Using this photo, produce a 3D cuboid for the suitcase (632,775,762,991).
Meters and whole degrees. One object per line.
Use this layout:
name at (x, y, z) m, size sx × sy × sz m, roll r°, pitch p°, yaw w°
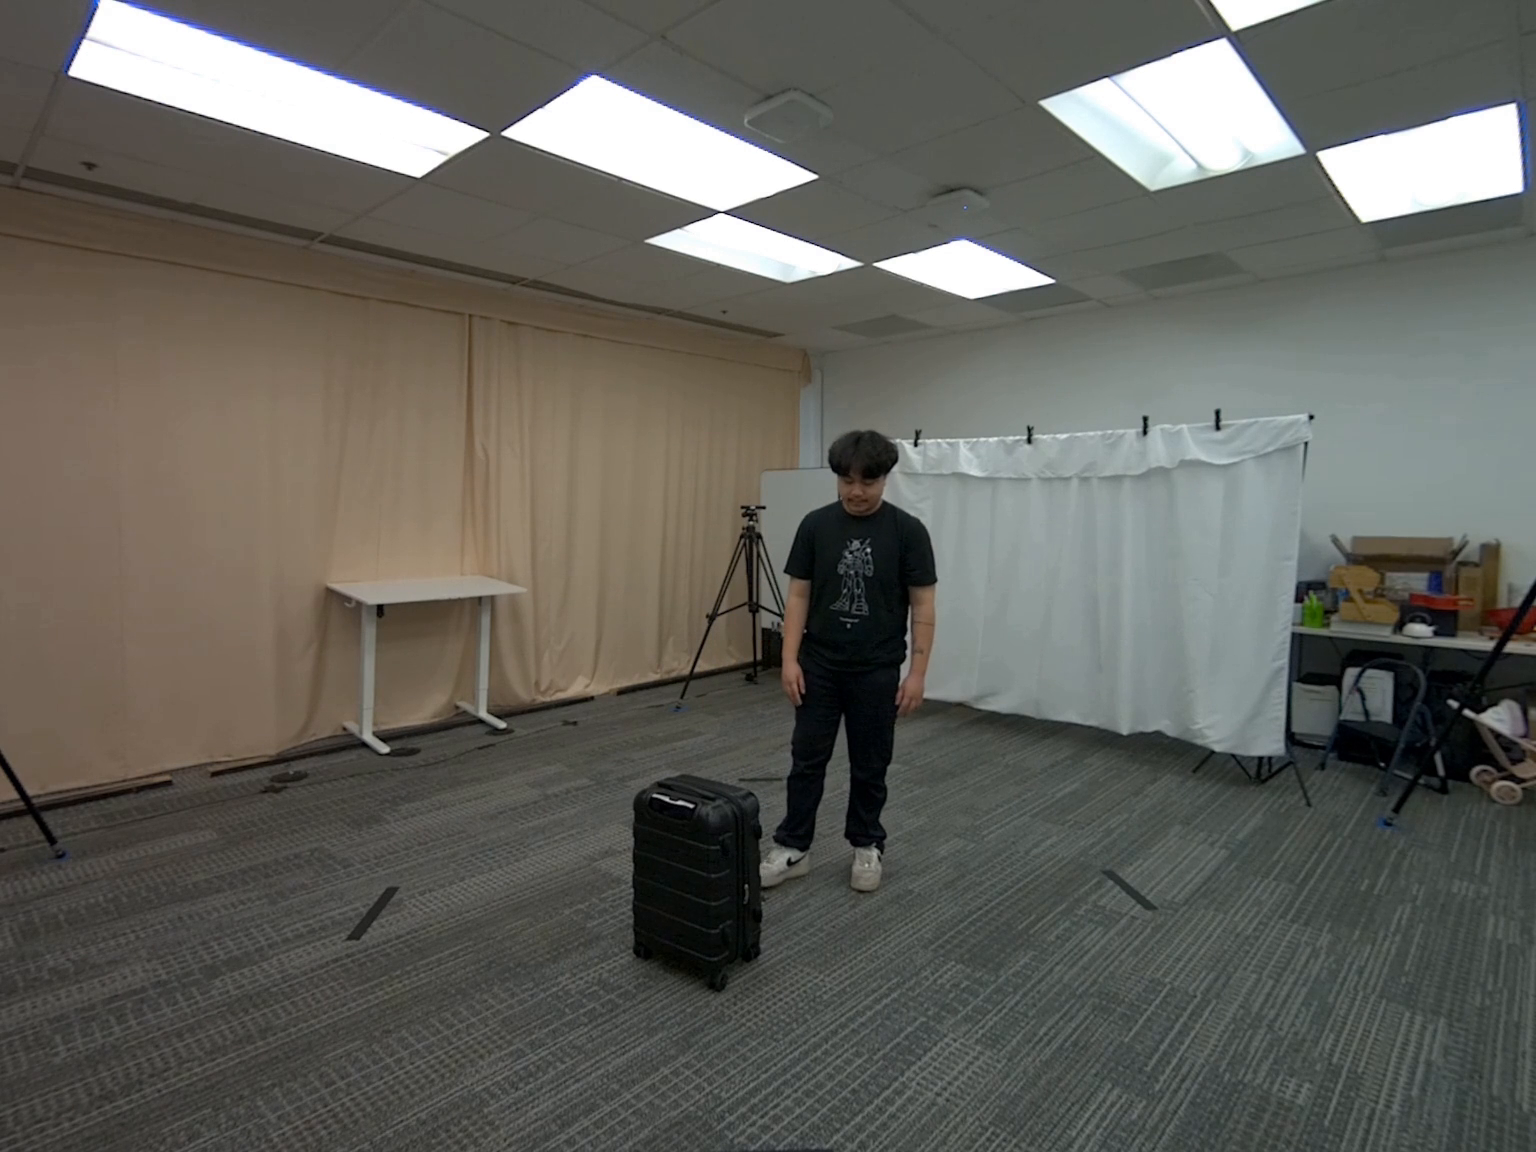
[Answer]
suitcase at (-0.220, 0.904, 2.570) m, size 0.387 × 0.548 × 0.241 m, roll 2°, pitch 4°, yaw 36°
